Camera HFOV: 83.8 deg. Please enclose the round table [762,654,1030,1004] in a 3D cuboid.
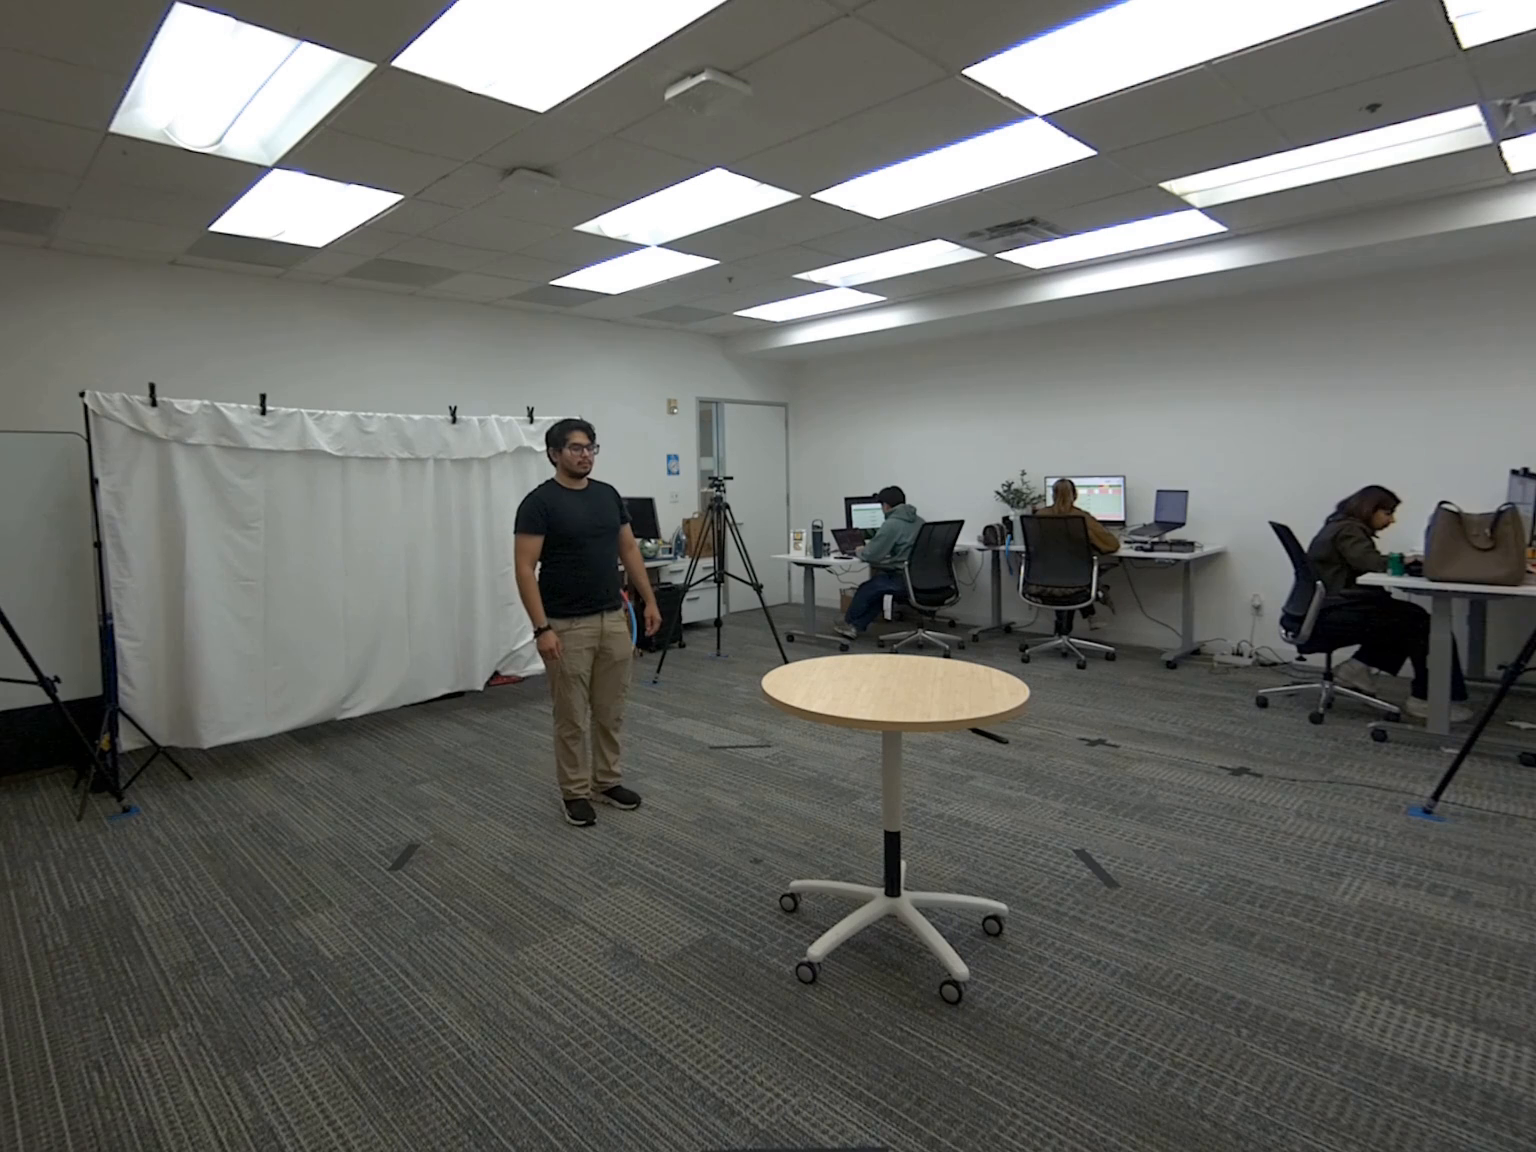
[{"bbox_3d":[0.375,0.699,2.560,0.784,0.783,0.790,-1,6,-2],"label":"round table"}]
